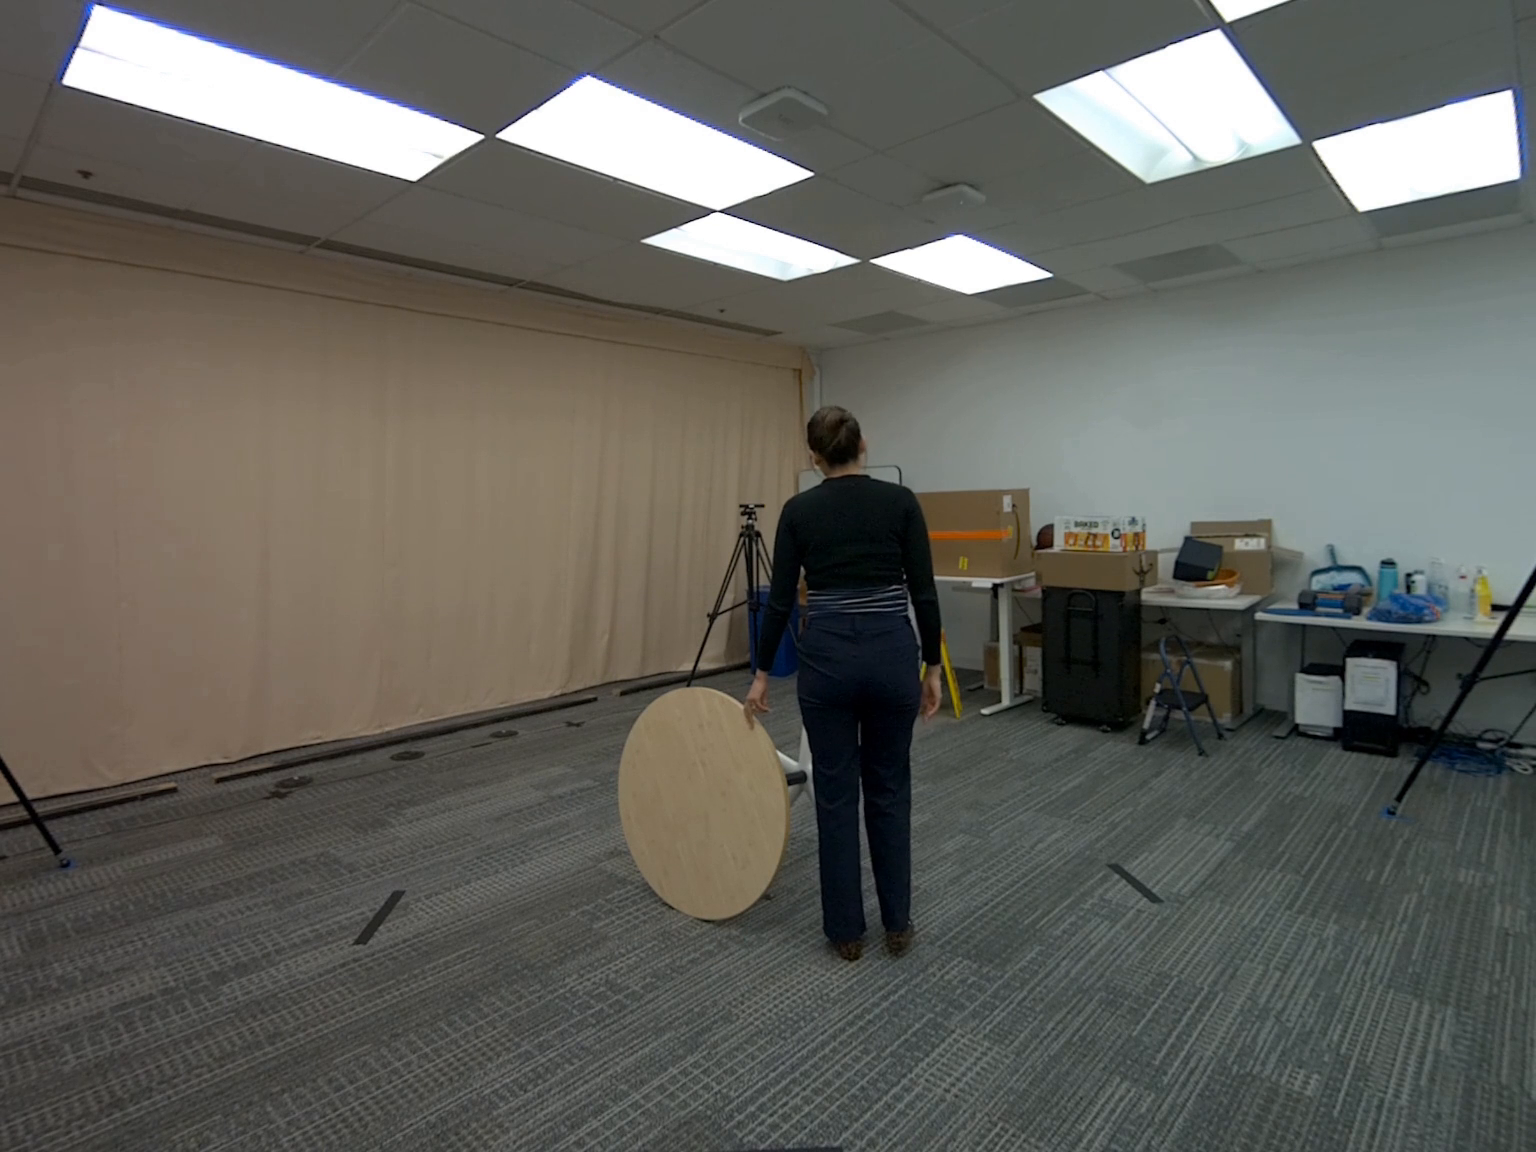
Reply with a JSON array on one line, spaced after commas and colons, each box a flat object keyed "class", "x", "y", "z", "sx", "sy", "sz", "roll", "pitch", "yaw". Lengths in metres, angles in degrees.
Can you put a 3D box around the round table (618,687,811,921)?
[{"class": "round table", "x": -0.008, "y": 0.794, "z": 3.181, "sx": 0.789, "sy": 0.765, "sz": 0.767, "roll": 2, "pitch": -3, "yaw": 39}]
